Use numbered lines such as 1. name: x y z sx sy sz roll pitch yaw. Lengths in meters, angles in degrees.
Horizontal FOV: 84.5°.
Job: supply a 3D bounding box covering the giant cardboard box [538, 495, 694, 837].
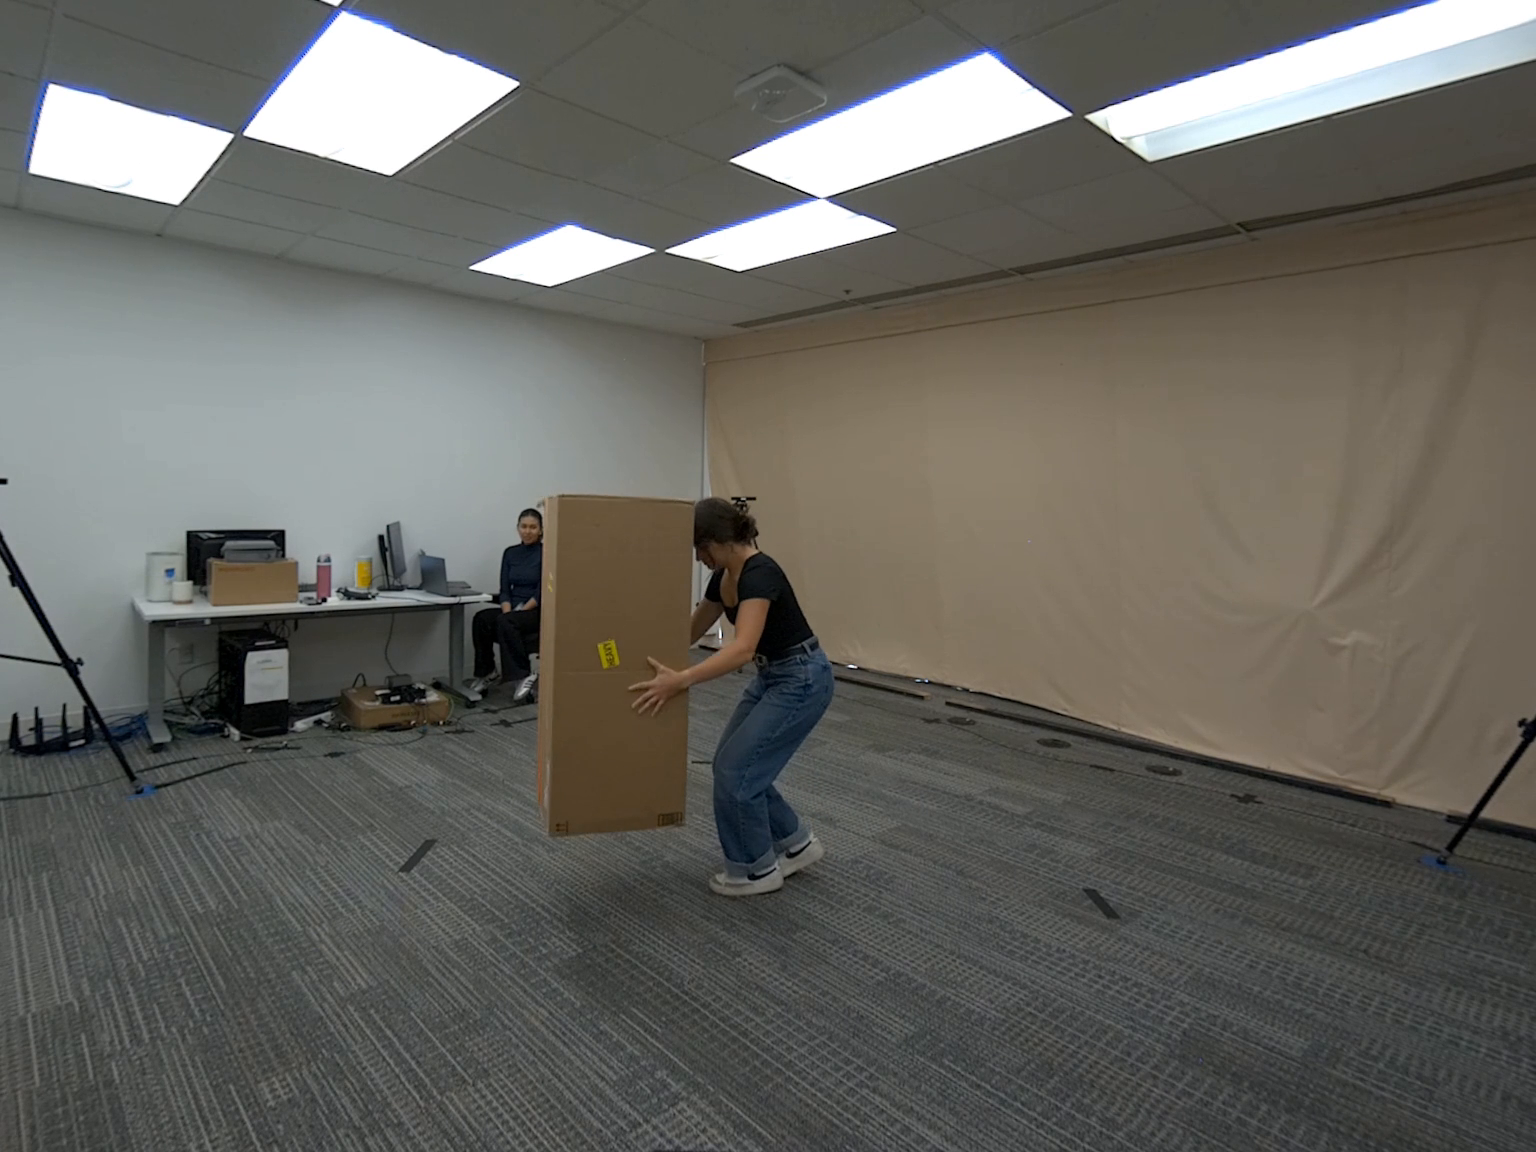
1. giant cardboard box: -0.541 0.258 2.819 0.420 1.025 0.586 2 1 -18
